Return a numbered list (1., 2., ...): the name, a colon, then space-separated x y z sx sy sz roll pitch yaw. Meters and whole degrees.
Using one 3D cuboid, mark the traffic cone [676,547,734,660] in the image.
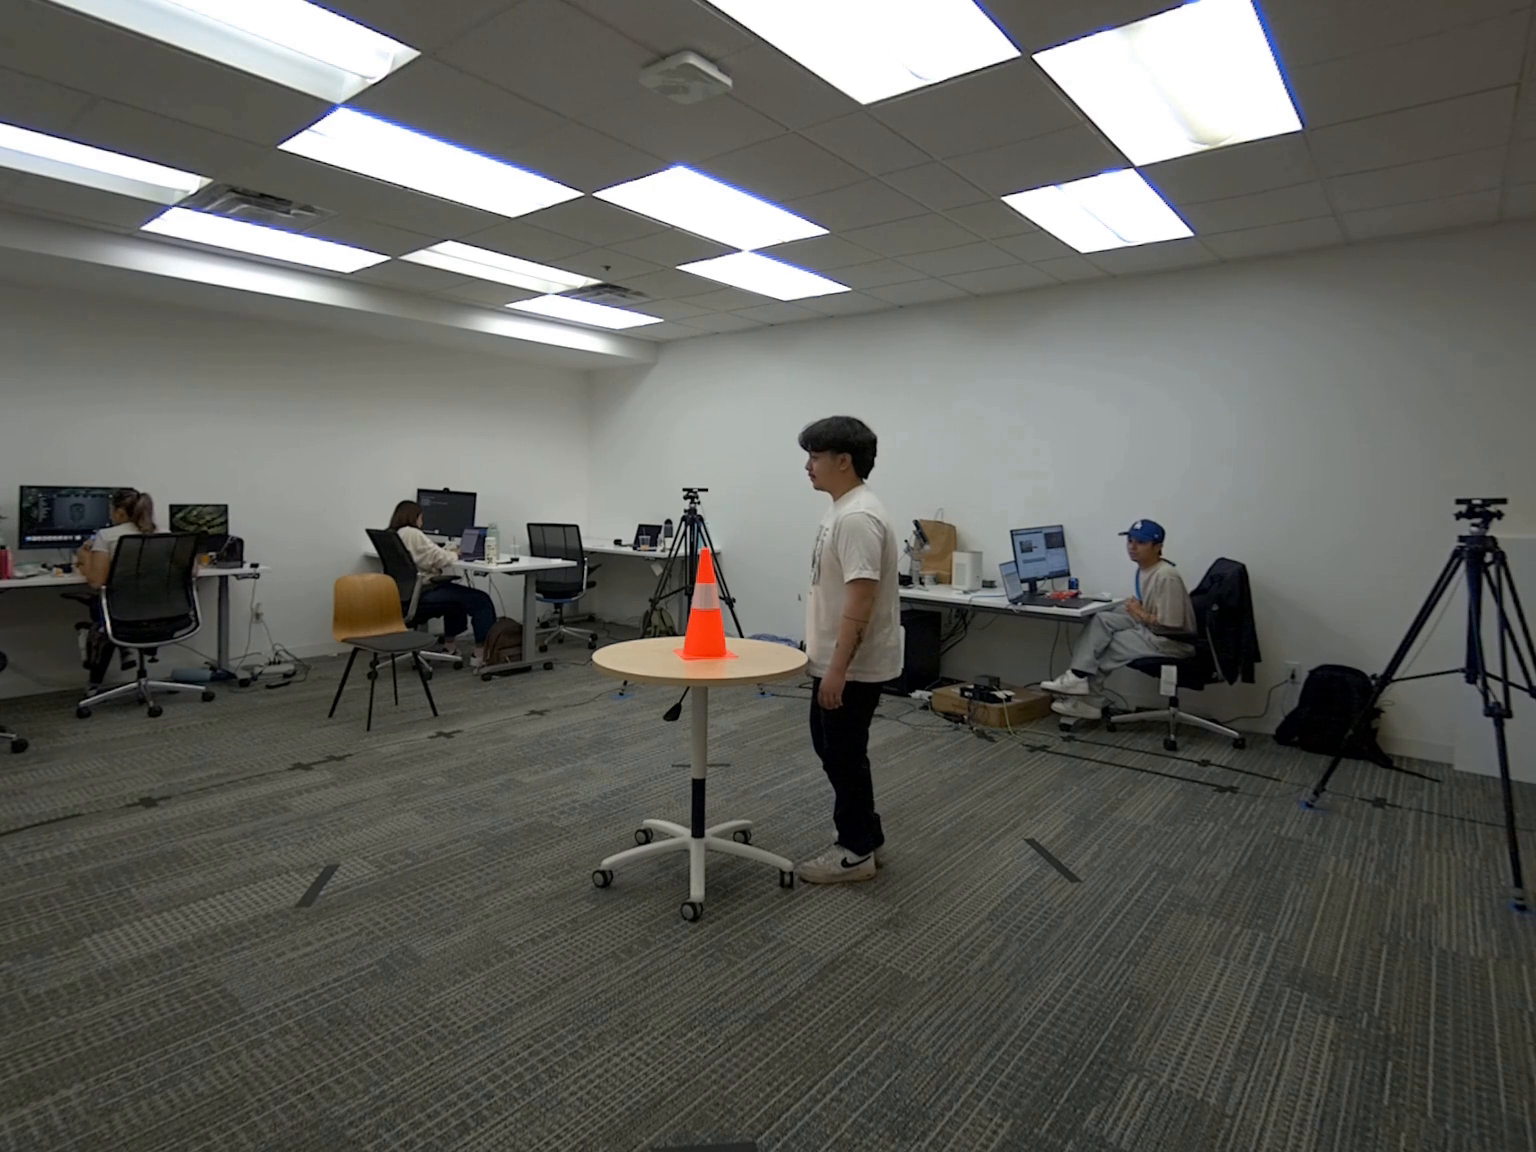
1. traffic cone: -0.236 0.089 3.047 0.209 0.382 0.200 1 5 30
